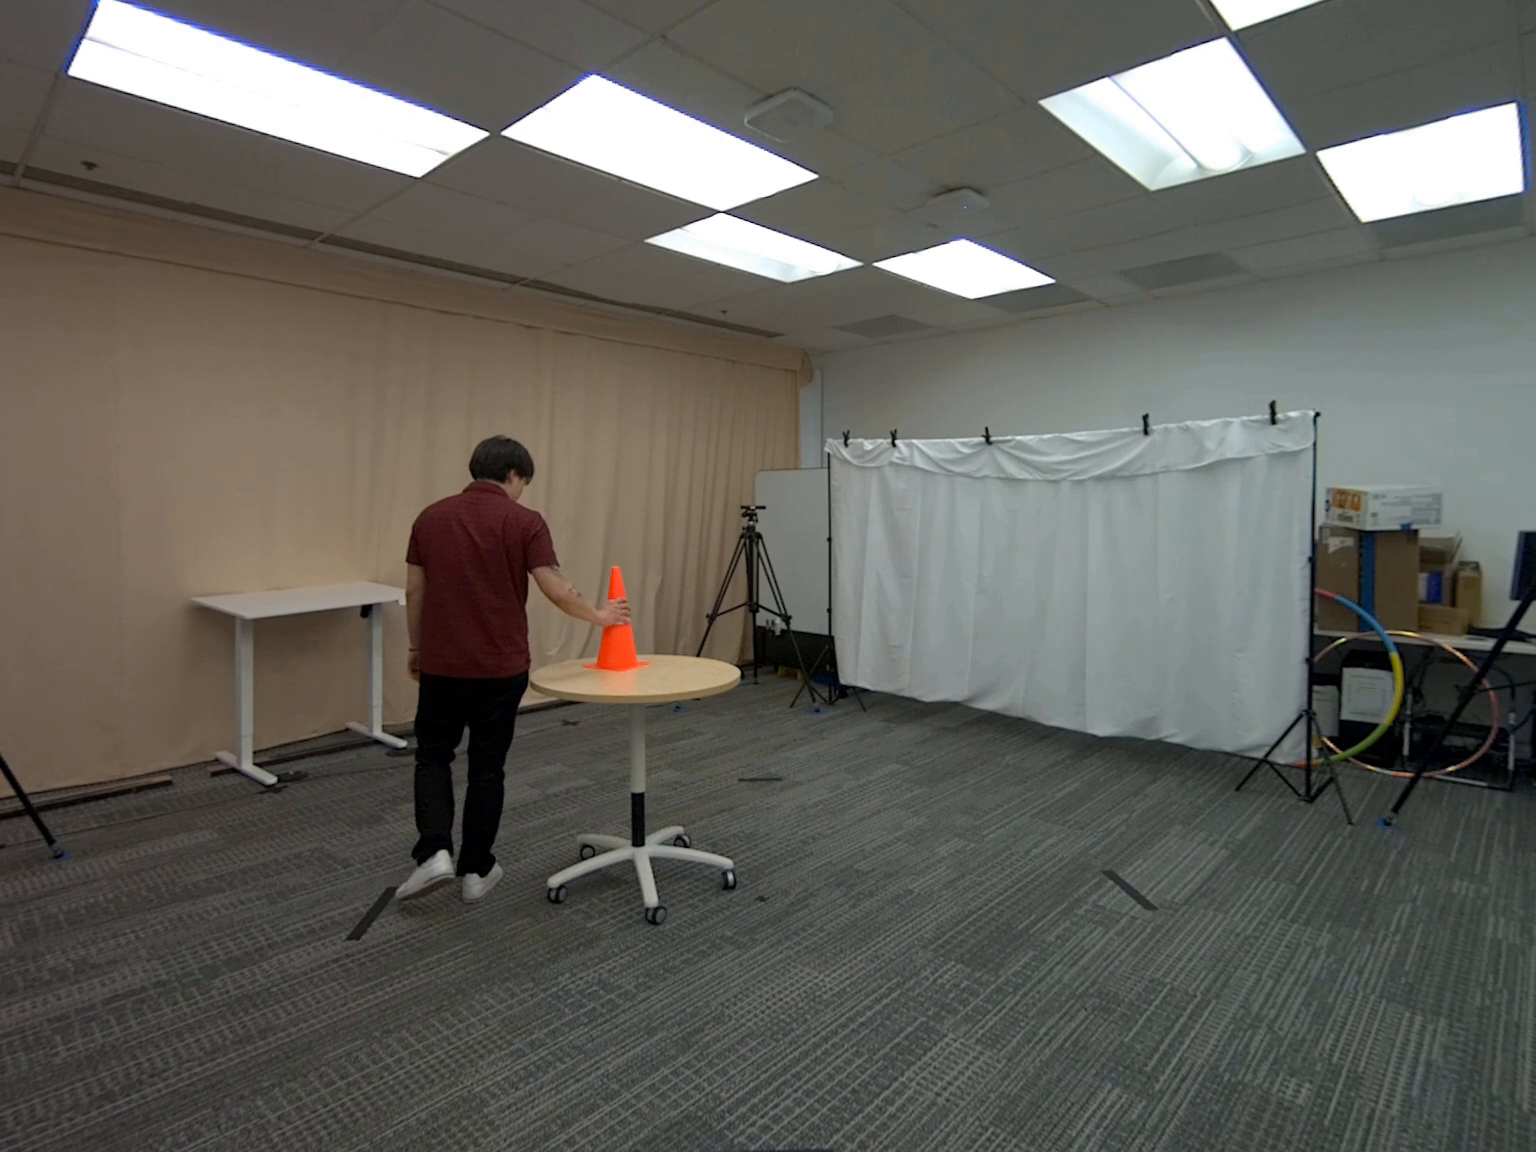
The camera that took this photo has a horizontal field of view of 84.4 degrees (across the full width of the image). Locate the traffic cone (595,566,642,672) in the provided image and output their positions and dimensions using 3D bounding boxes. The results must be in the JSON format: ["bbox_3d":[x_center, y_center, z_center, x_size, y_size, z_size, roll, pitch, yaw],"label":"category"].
[{"bbox_3d":[-0.593,0.158,3.235,0.210,0.383,0.198,1,3,27],"label":"traffic cone"}]
